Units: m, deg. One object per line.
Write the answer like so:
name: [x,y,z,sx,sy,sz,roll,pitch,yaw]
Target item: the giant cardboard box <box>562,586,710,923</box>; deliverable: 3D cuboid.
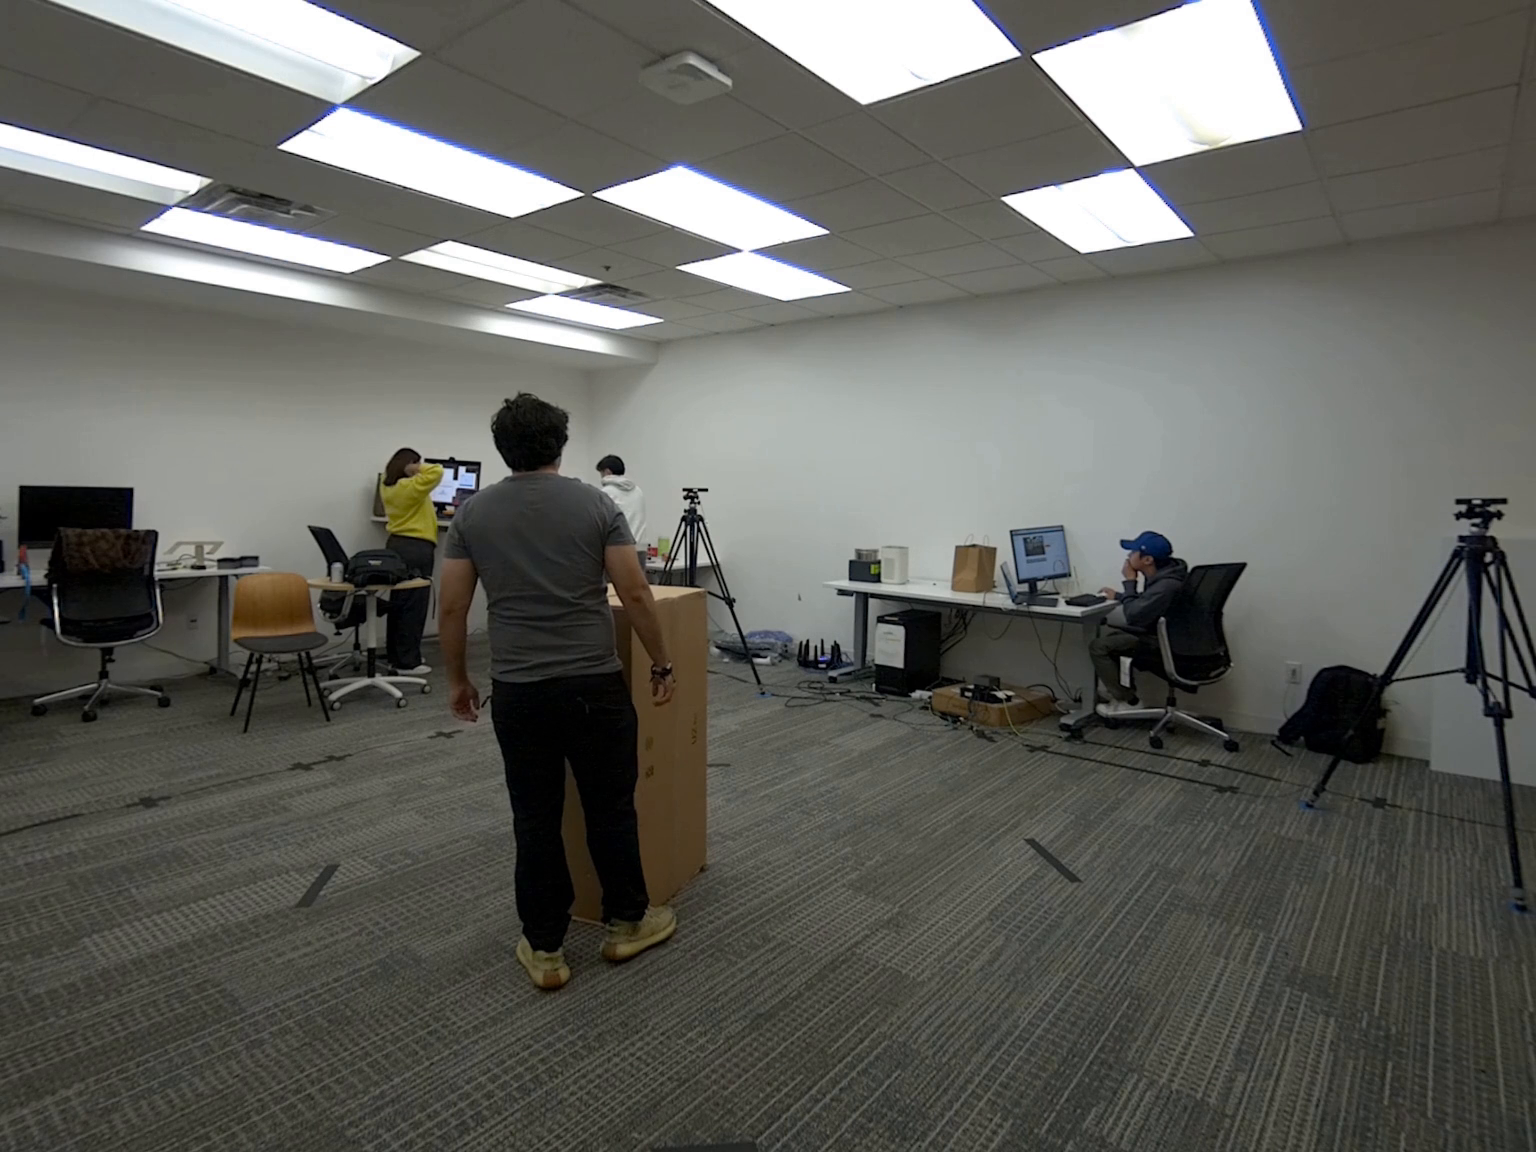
giant cardboard box: [-0.523,0.575,2.965,0.457,1.024,0.573,2,3,21]
